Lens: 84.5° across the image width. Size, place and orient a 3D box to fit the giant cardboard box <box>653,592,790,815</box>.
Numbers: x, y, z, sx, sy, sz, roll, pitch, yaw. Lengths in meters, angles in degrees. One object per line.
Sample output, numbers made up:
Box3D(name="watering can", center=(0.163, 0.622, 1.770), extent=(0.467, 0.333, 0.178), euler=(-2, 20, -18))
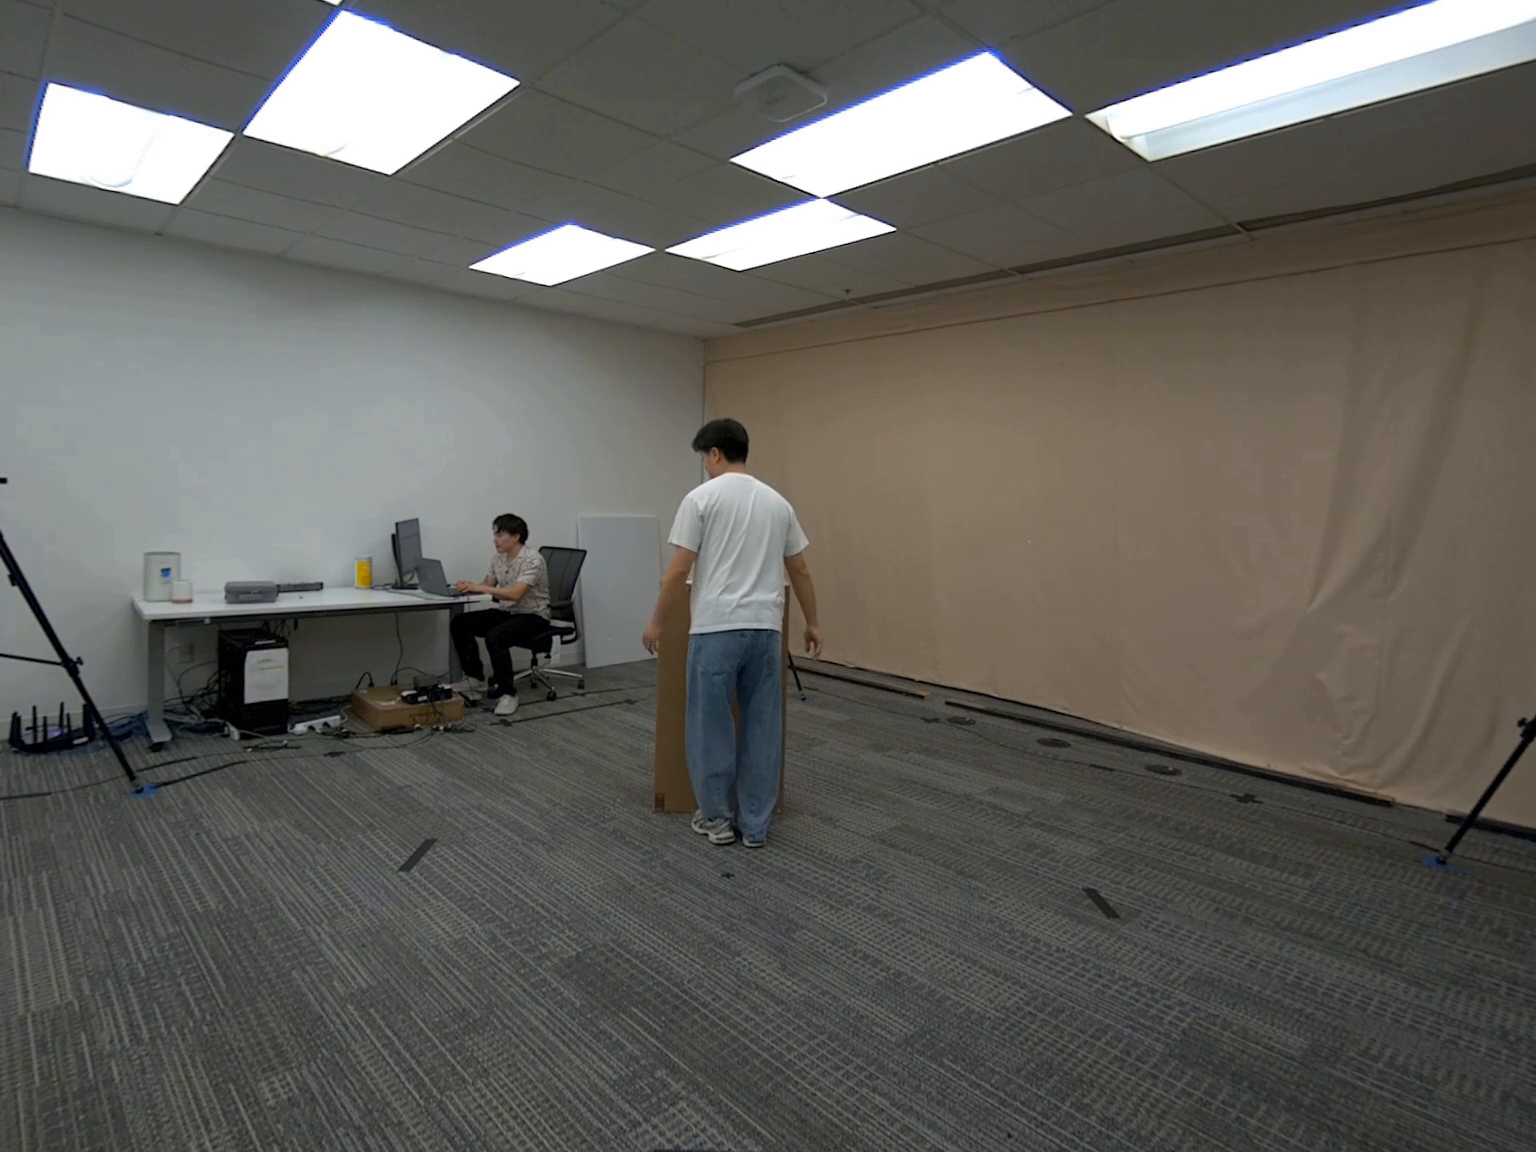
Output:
Box3D(name="giant cardboard box", center=(-0.228, 0.527, 3.914), extent=(0.576, 1.023, 0.428), euler=(2, 3, -2))
